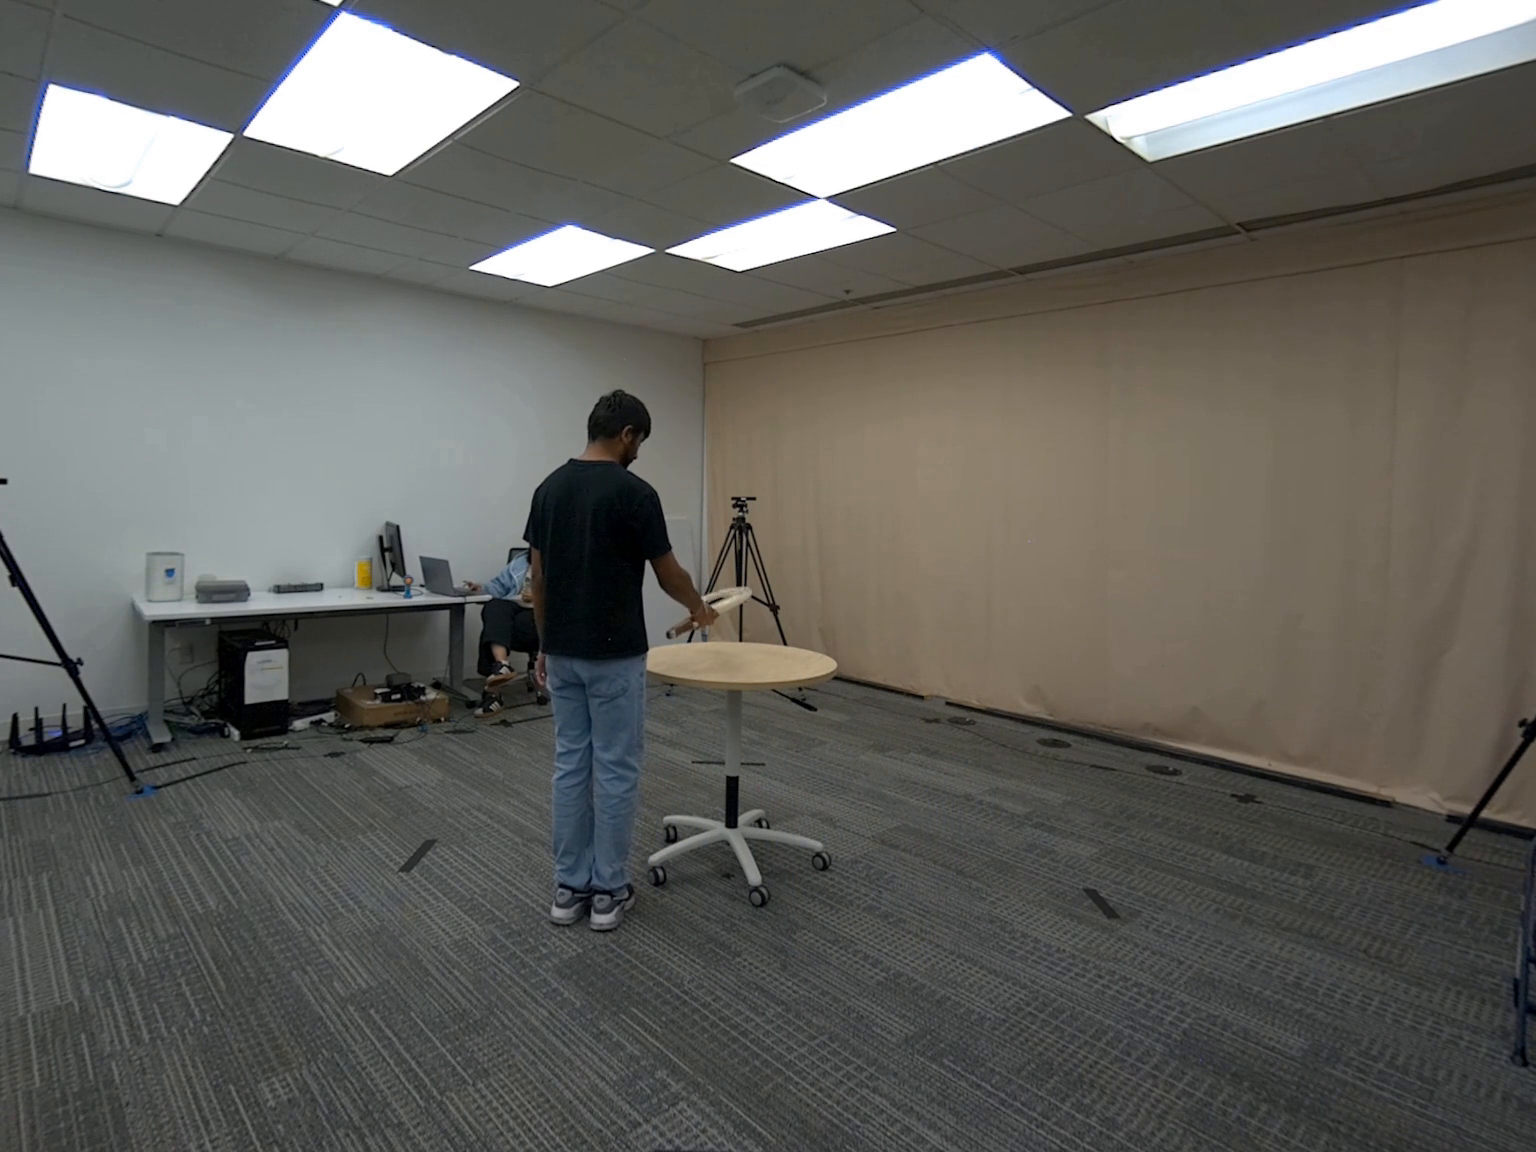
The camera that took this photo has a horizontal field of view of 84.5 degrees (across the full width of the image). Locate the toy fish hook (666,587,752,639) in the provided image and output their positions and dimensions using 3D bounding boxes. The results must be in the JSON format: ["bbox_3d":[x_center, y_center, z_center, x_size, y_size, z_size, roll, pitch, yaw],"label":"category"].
[{"bbox_3d":[-0.273,0.134,3.144,0.229,0.048,0.501,-10,12,39],"label":"toy fish hook"}]
